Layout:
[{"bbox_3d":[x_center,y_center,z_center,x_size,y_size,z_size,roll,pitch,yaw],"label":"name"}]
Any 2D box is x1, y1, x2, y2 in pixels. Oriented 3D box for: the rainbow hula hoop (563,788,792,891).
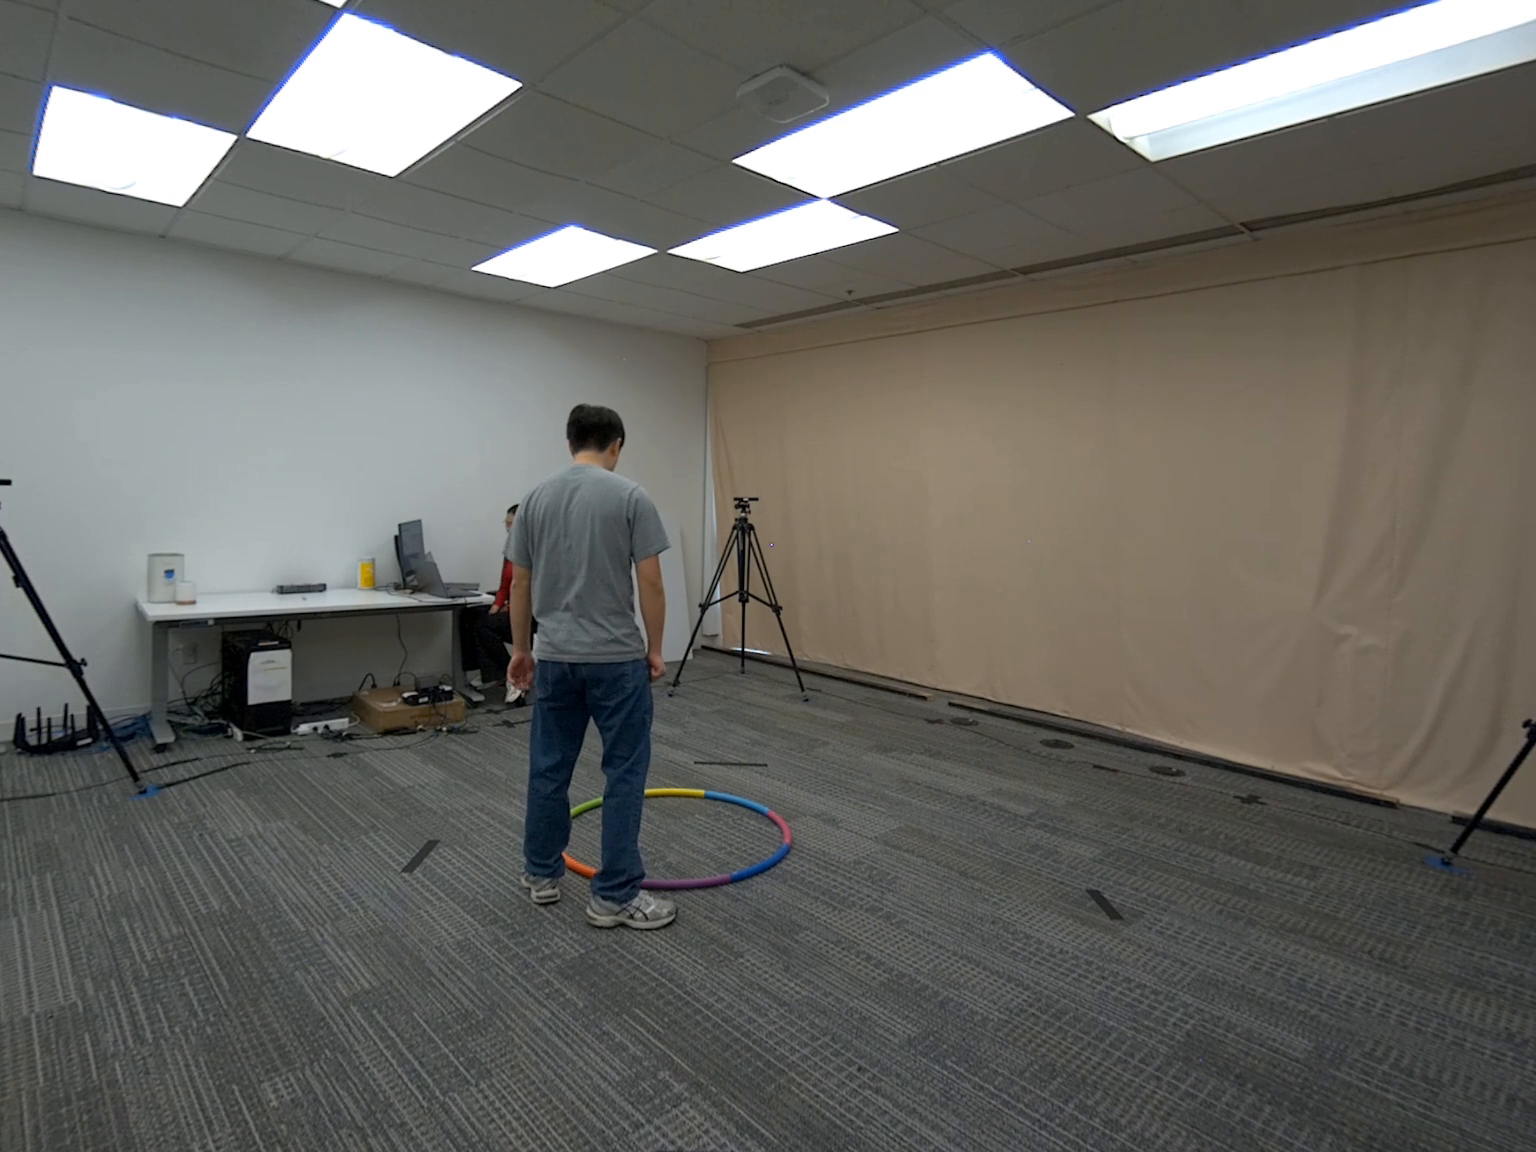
[{"bbox_3d":[-0.407,1.039,3.464,0.978,0.035,0.982,1,5,-1],"label":"rainbow hula hoop"}]
